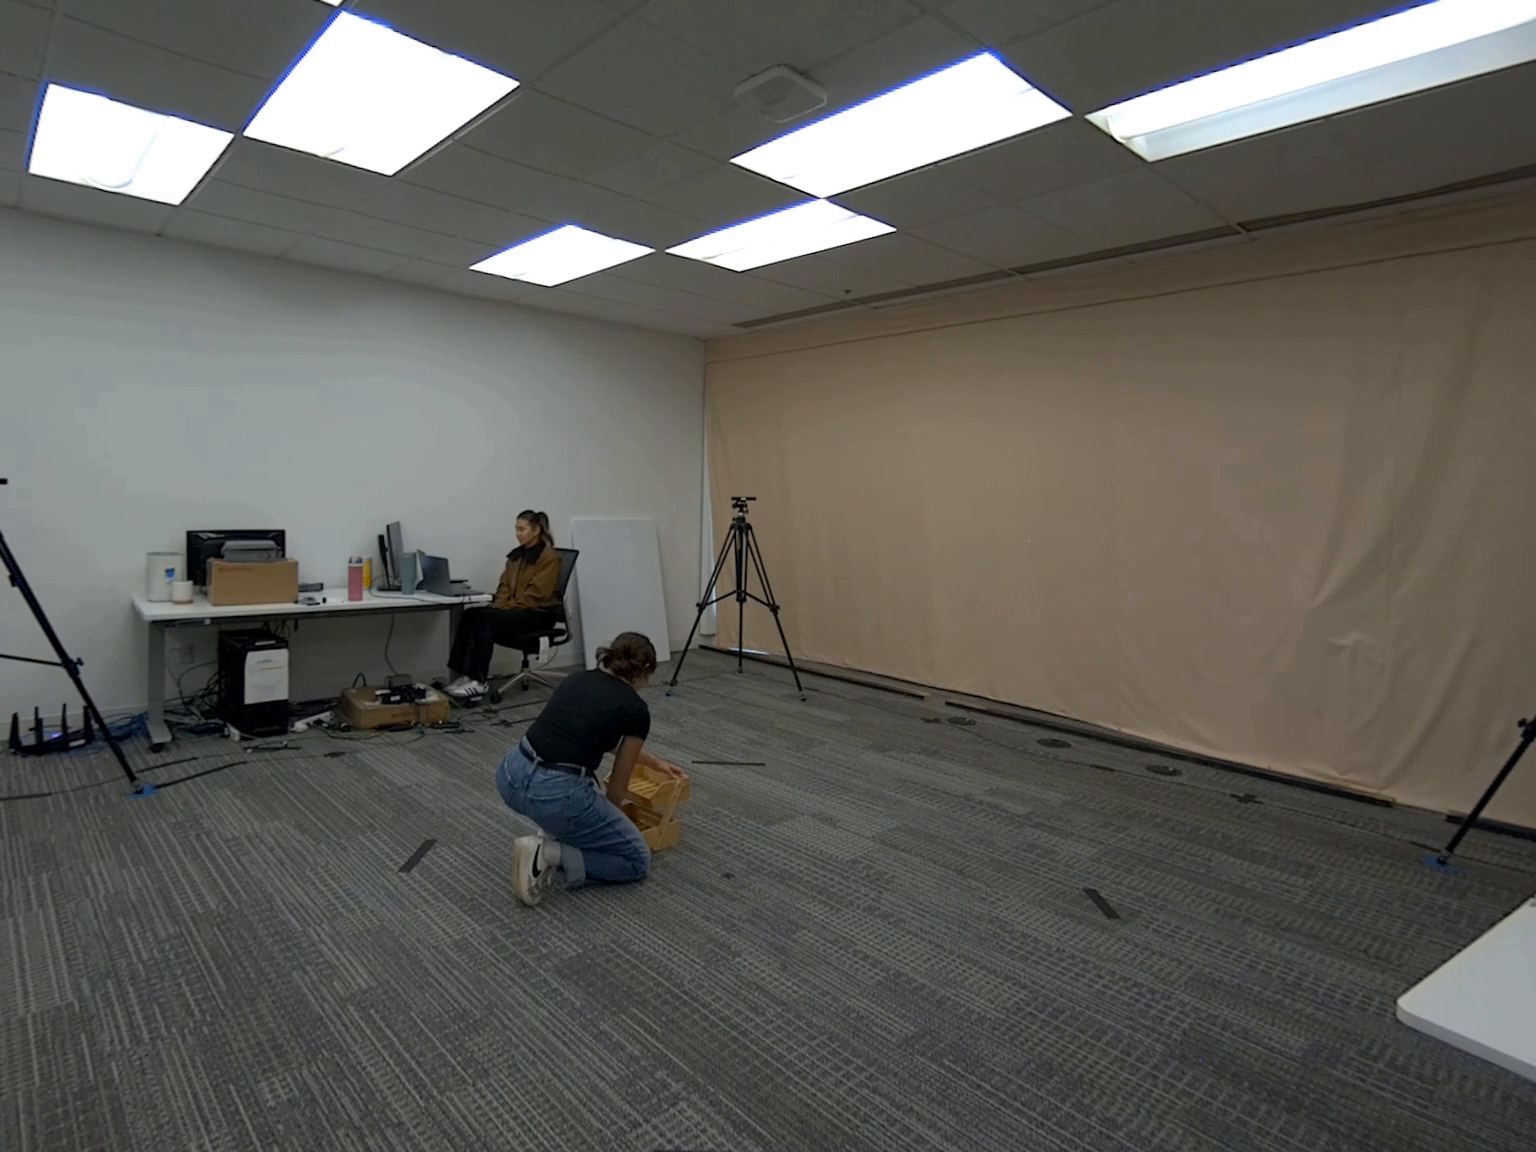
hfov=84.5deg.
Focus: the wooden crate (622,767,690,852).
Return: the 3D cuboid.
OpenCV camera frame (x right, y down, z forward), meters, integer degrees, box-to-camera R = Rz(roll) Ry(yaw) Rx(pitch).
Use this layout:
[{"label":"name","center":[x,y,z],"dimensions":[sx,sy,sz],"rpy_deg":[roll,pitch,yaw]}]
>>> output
[{"label":"wooden crate","center":[-0.540,0.933,3.420],"dimensions":[0.333,0.272,0.295],"rpy_deg":[6,7,44]}]
